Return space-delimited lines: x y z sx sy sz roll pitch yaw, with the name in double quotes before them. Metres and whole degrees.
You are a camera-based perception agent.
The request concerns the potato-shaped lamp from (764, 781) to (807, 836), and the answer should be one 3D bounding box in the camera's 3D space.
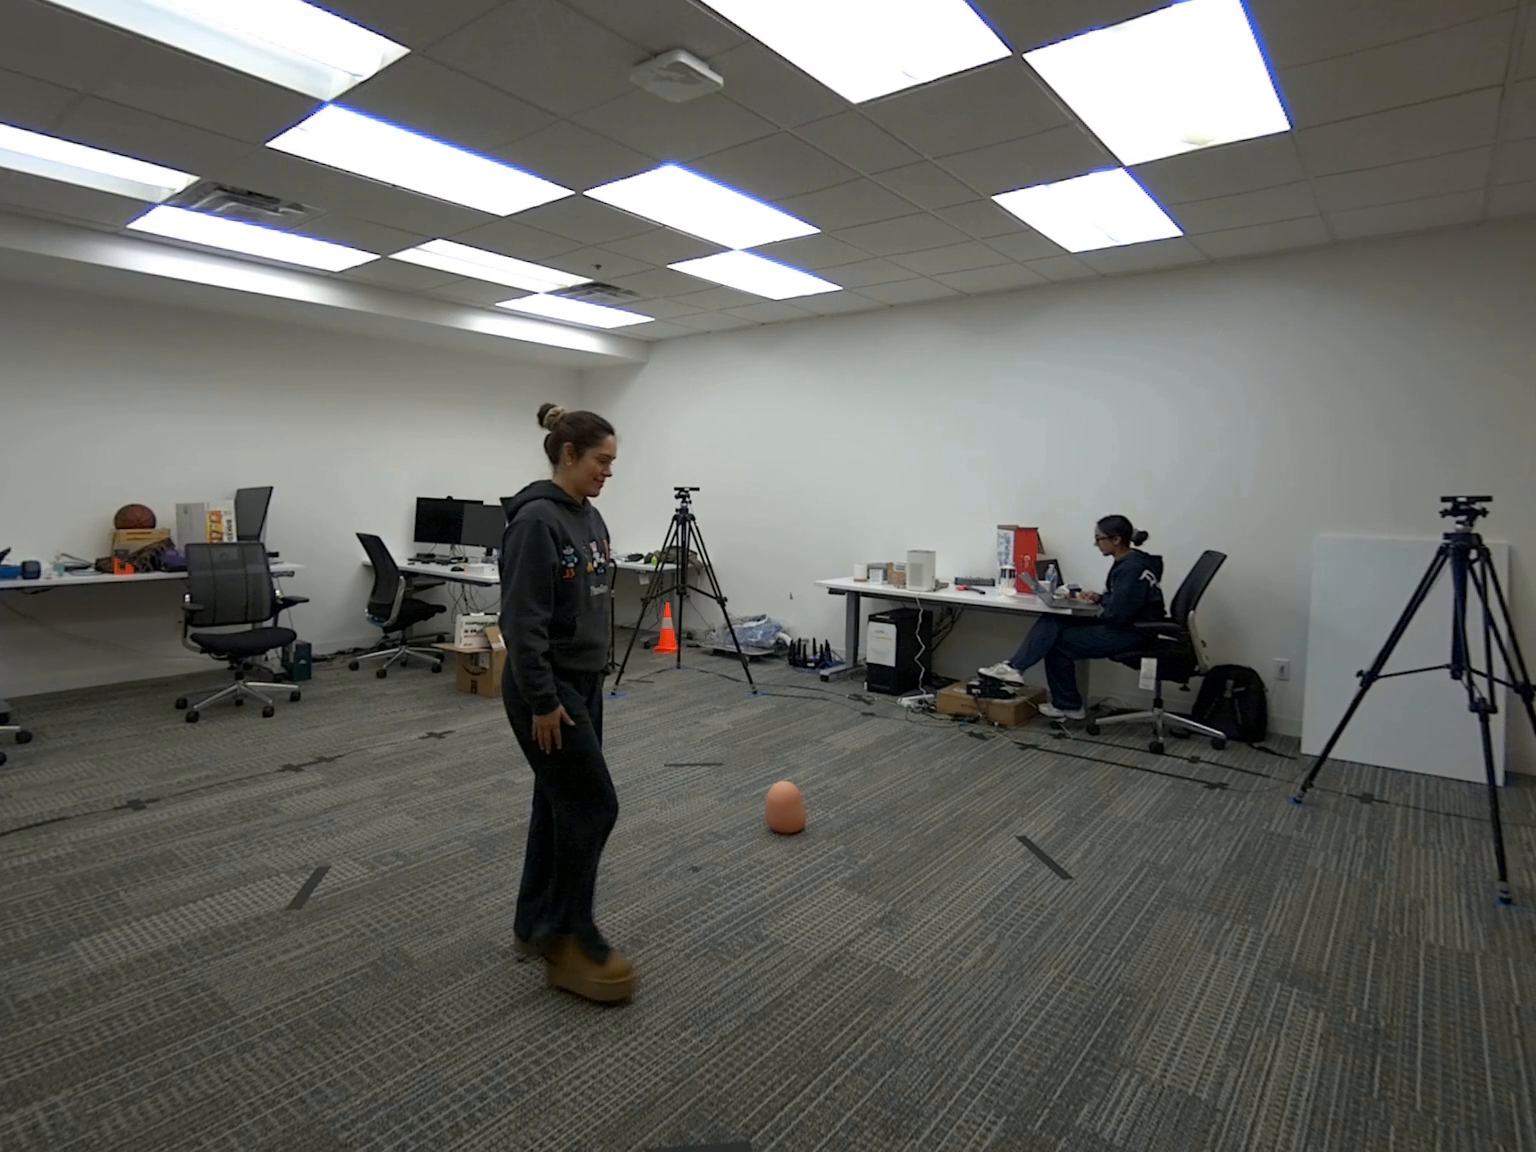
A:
"potato-shaped lamp" 0.069 0.937 3.480 0.170 0.197 0.166 4 7 41
